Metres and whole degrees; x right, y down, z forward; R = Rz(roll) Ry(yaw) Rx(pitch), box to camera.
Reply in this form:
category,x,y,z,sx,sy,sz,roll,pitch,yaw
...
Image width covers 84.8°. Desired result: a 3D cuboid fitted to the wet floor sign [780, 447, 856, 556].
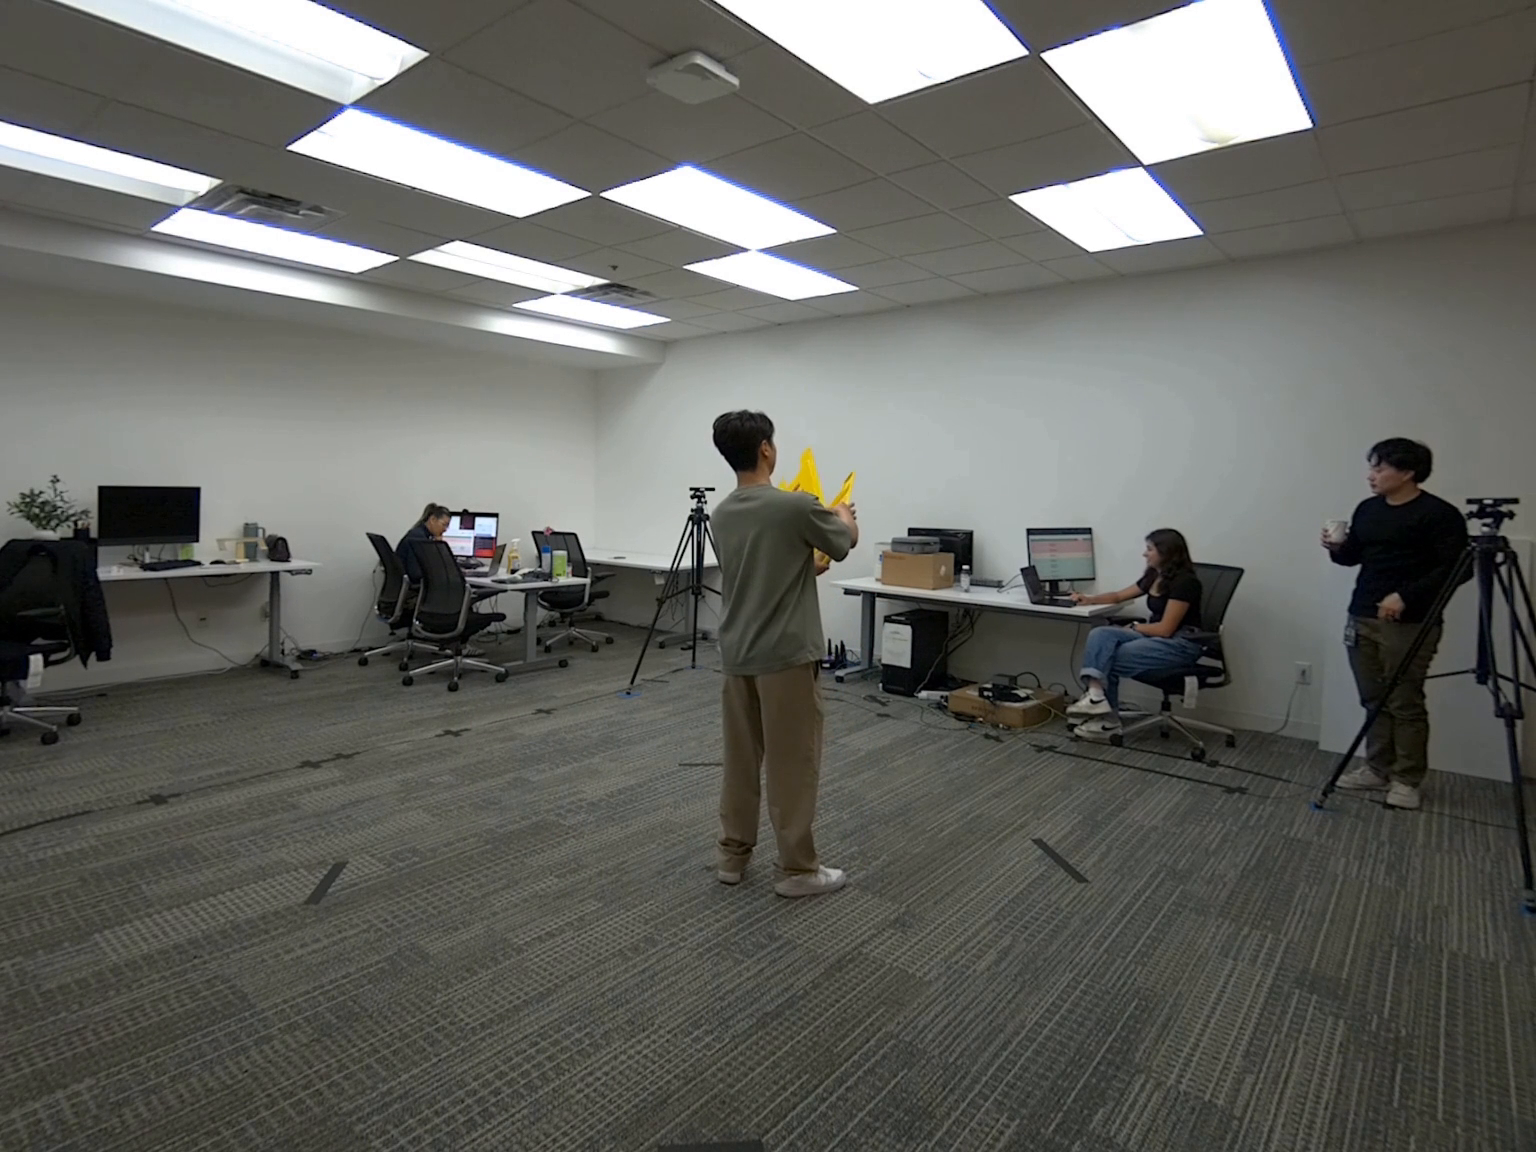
category,x,y,z,sx,sy,sz,roll,pitch,yaw
wet floor sign,0.201,-0.222,3.551,0.284,0.281,0.662,26,32,-16
